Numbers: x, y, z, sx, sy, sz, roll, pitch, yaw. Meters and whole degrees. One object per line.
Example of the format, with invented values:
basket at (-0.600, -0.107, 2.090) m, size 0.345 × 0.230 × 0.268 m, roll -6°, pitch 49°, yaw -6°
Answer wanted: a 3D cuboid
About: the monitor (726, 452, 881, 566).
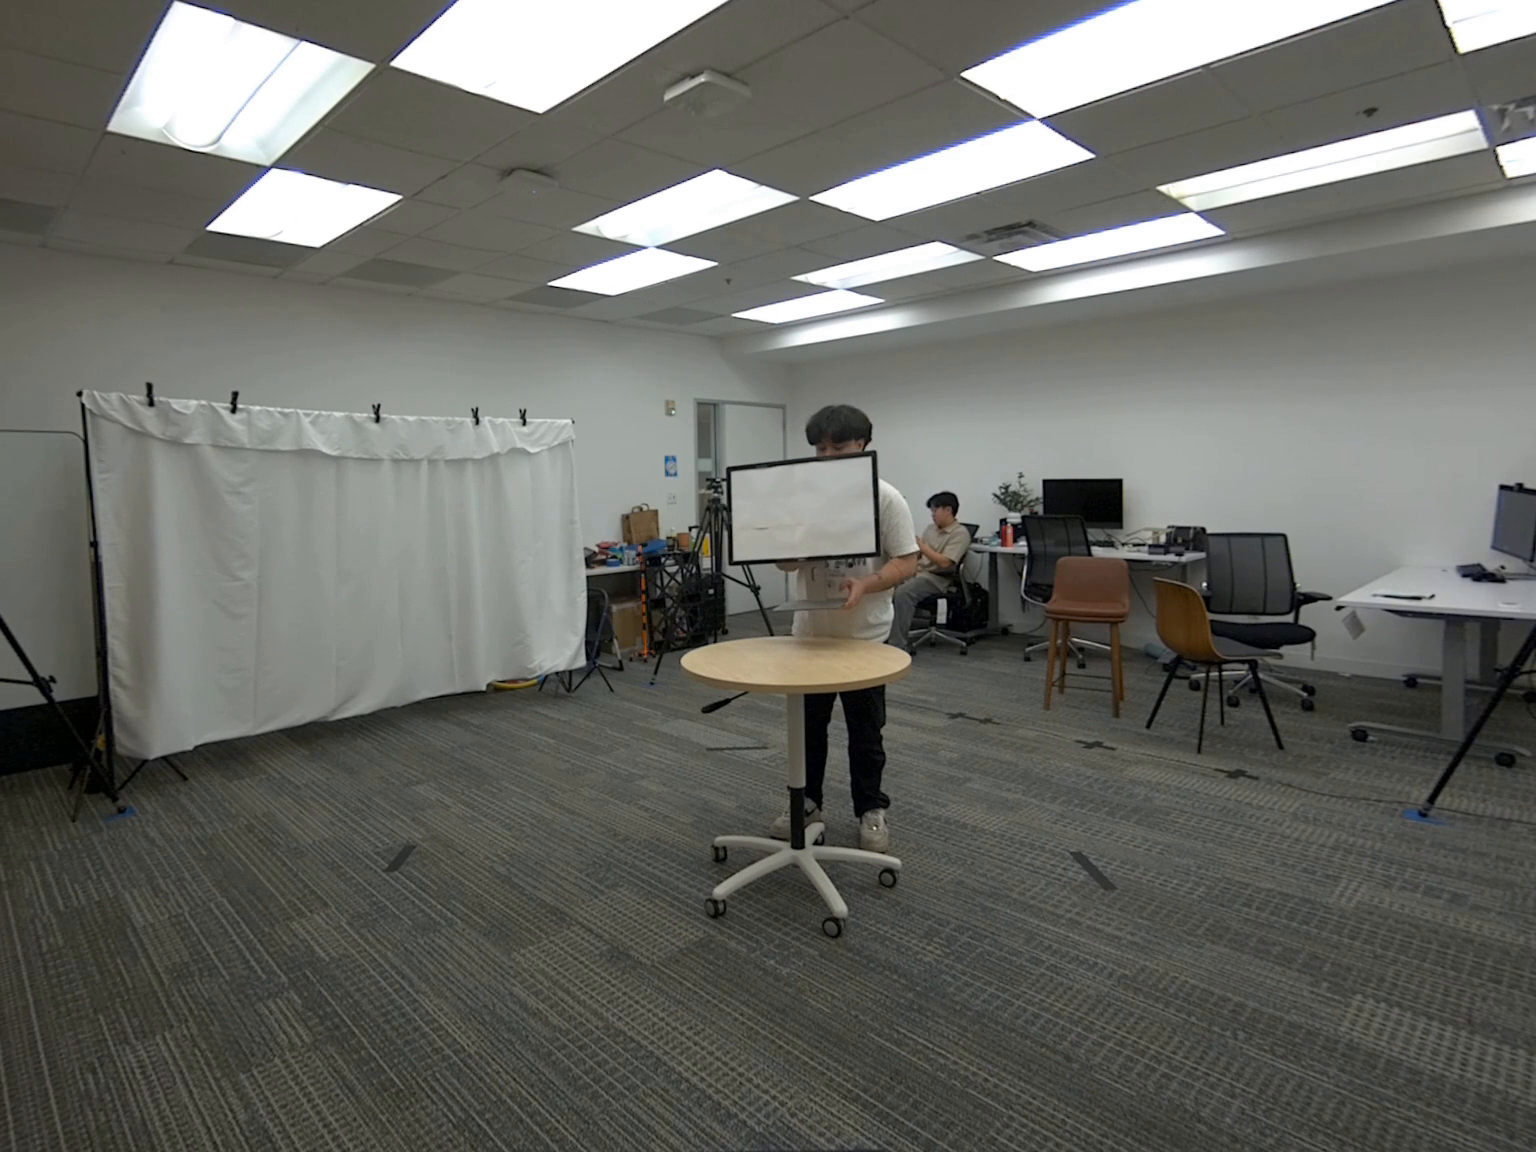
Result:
monitor at (0.148, -0.146, 3.053) m, size 0.577 × 0.555 × 0.206 m, roll -4°, pitch -1°, yaw 24°
